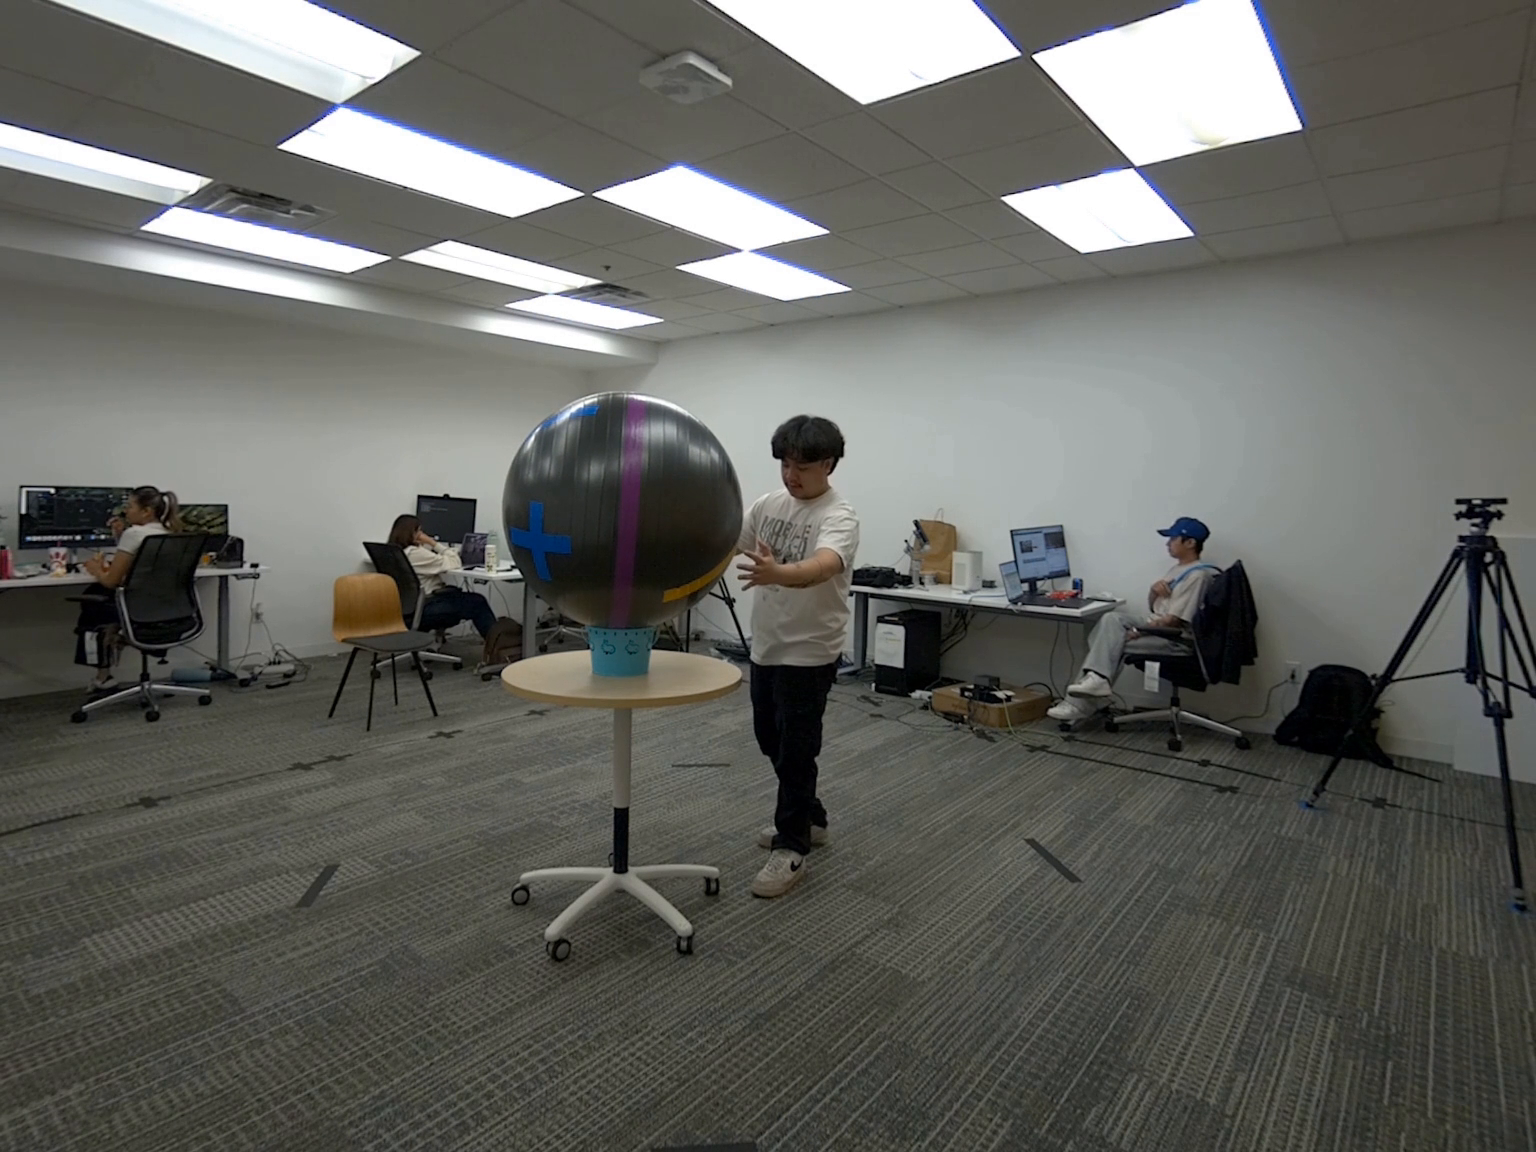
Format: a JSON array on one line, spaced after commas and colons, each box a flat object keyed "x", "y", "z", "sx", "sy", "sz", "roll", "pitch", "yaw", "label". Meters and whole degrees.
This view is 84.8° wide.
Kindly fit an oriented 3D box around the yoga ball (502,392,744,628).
[{"x": -0.472, "y": -0.206, "z": 2.730, "sx": 0.757, "sy": 0.756, "sz": 0.761, "roll": 1, "pitch": 4, "yaw": -2, "label": "yoga ball"}]
